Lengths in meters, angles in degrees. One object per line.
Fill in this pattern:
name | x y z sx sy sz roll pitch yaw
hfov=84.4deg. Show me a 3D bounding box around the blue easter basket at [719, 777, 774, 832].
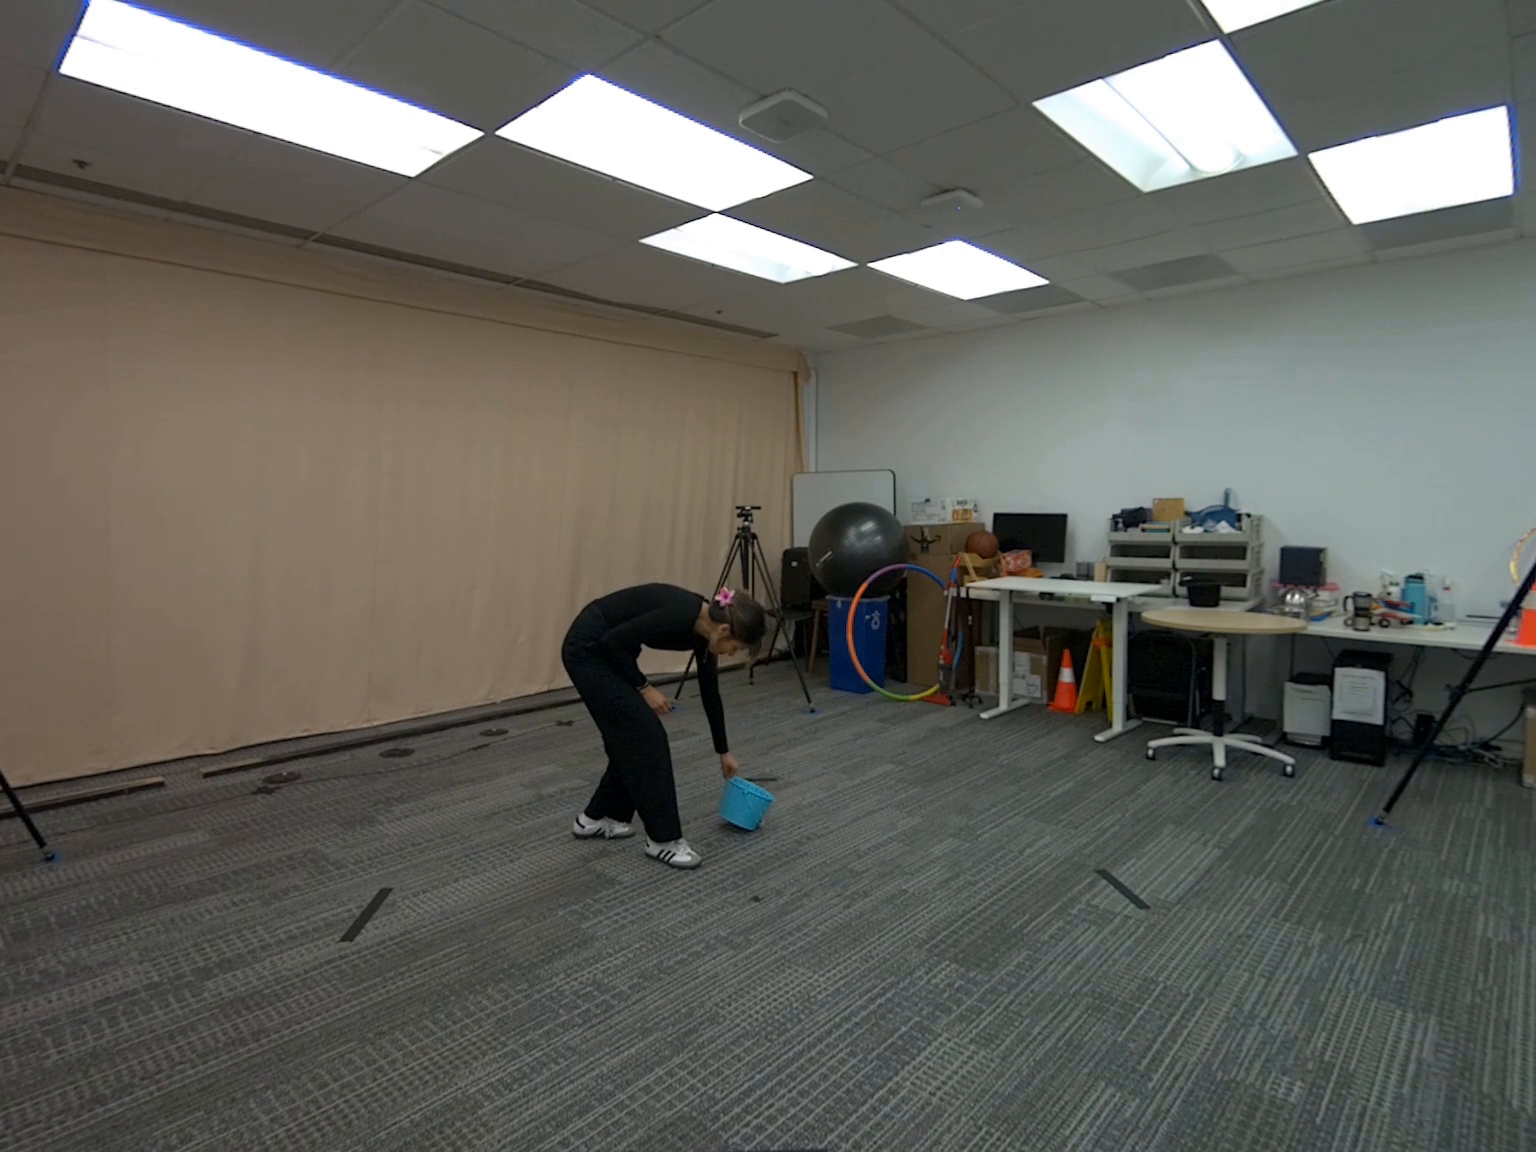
blue easter basket | -0.103 0.988 3.637 0.244 0.156 0.243 22 -3 -1
